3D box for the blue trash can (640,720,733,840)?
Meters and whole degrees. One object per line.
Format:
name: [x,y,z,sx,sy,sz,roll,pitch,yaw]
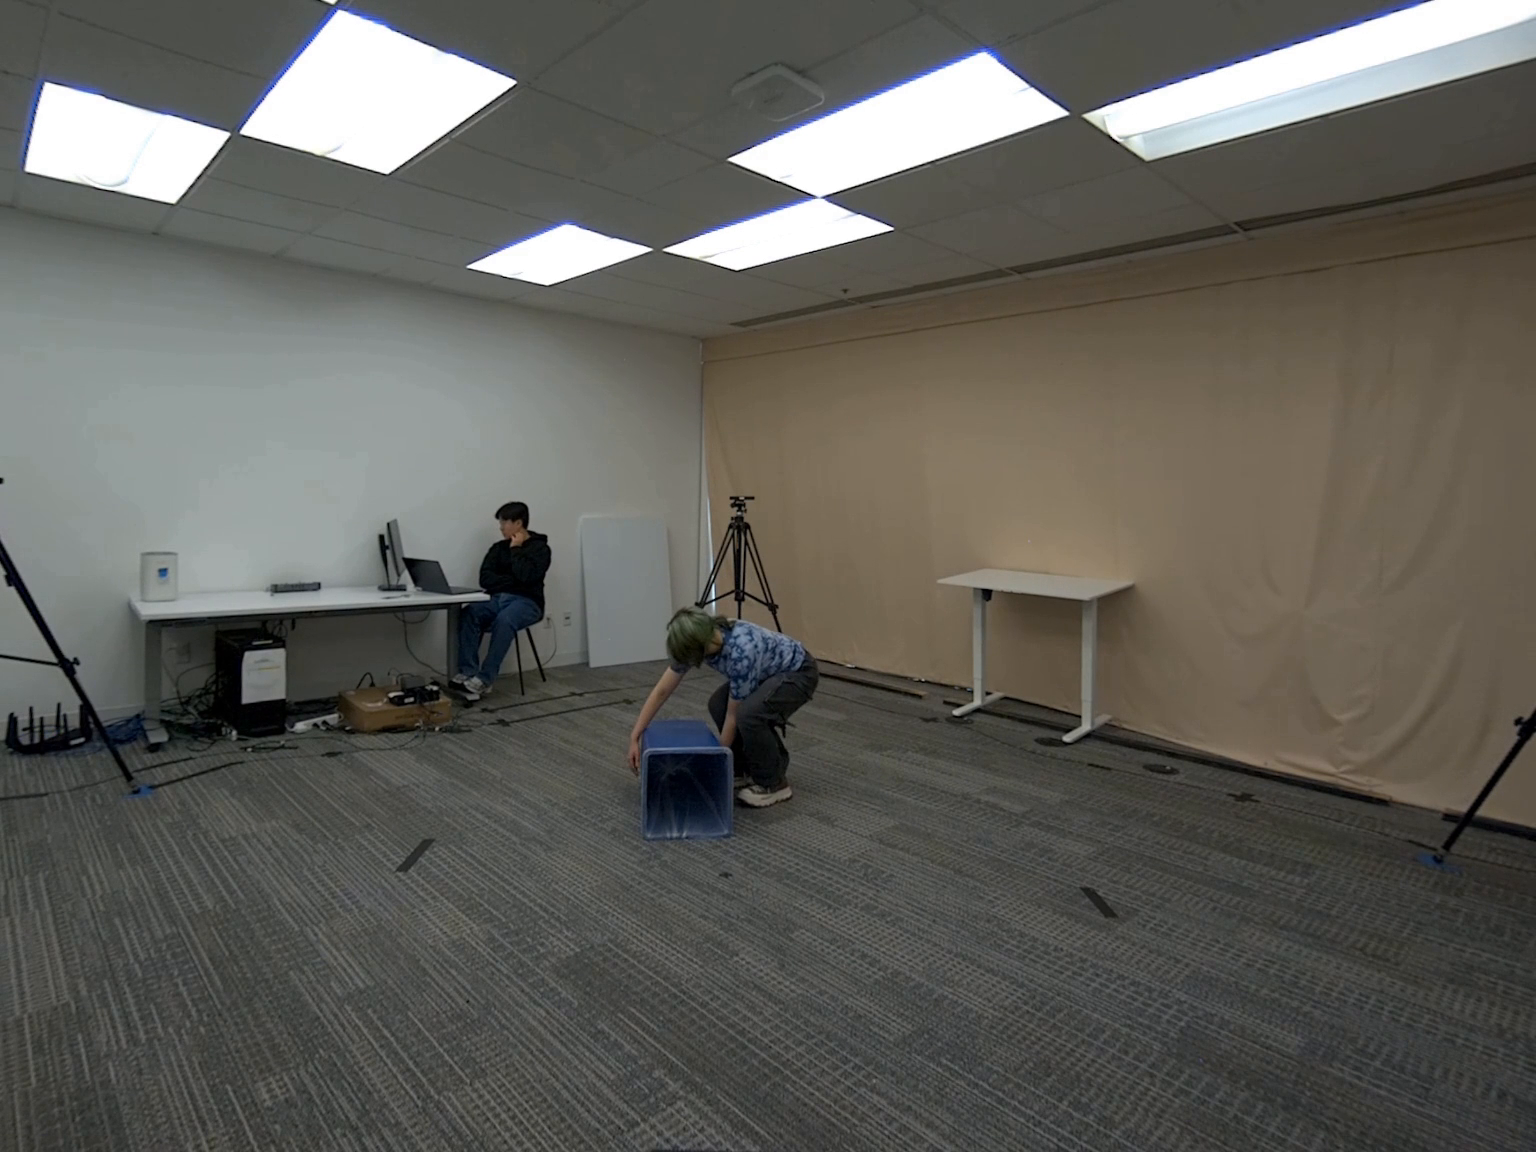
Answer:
blue trash can: [-0.408,0.862,3.764,0.375,0.373,0.721,1,3,-11]
